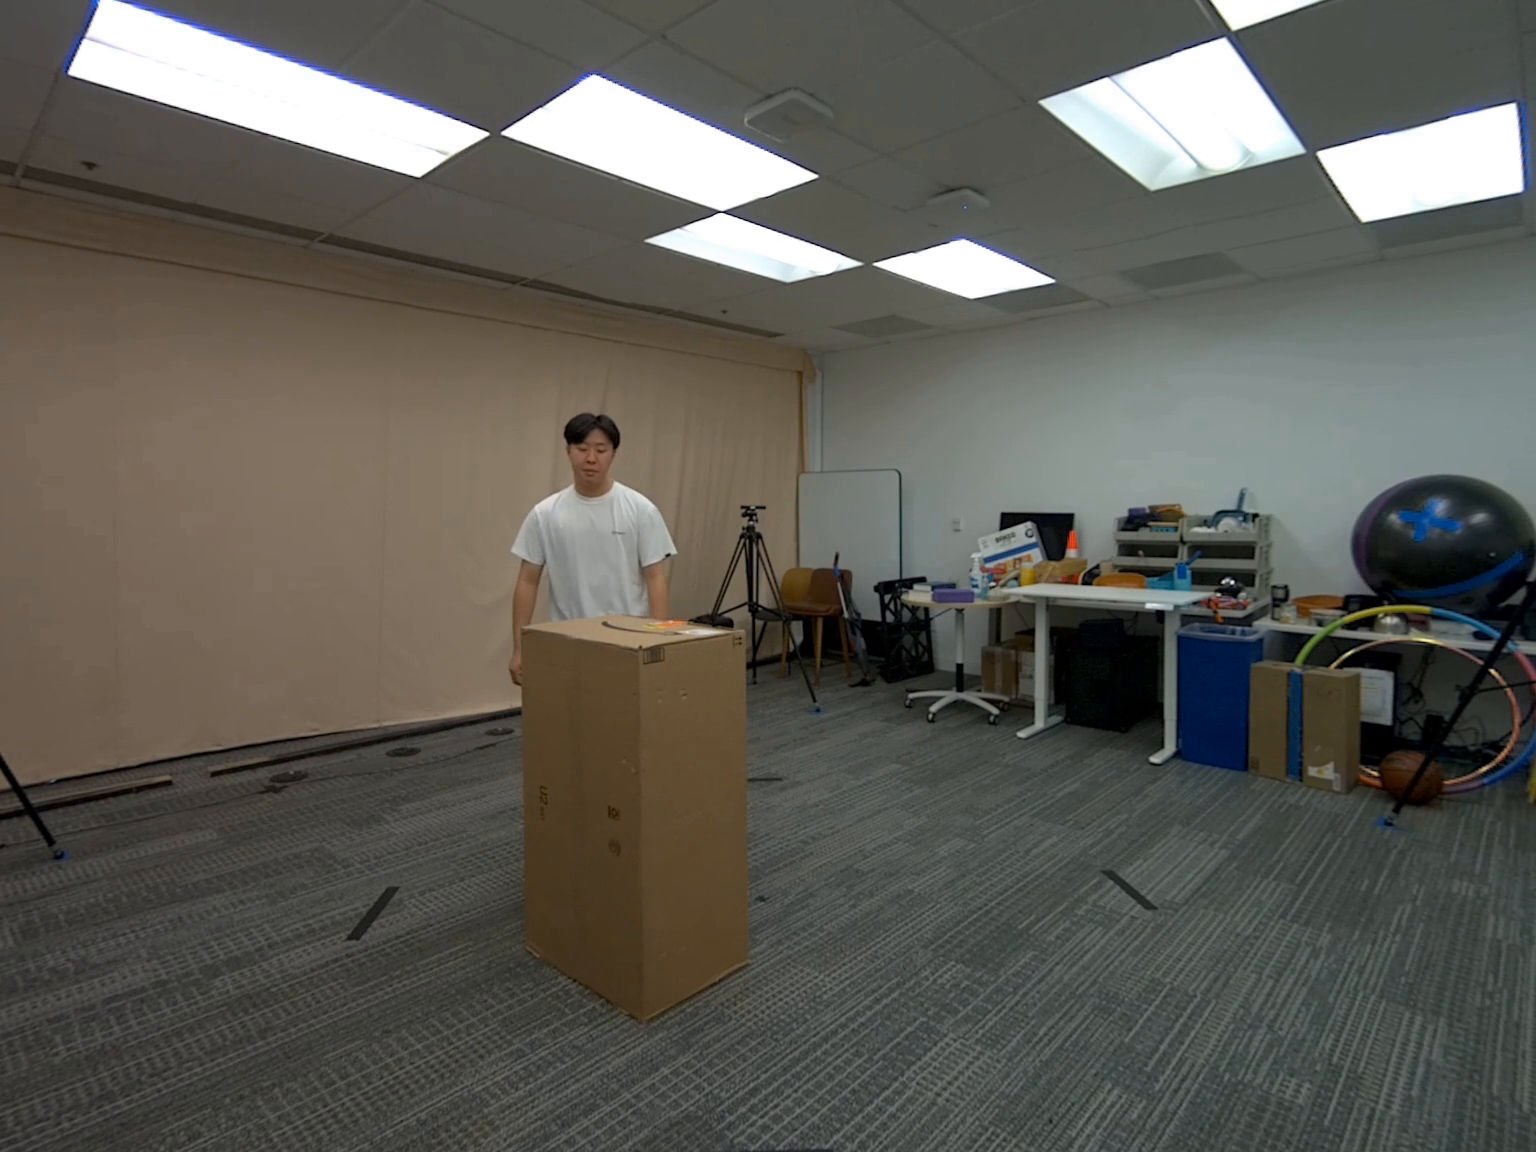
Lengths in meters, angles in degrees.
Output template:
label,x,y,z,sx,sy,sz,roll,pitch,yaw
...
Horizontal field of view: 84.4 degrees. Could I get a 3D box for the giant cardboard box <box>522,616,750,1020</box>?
label,x,y,z,sx,sy,sz,roll,pitch,yaw
giant cardboard box,-0.407,0.672,2.585,0.596,1.024,0.413,2,3,42
